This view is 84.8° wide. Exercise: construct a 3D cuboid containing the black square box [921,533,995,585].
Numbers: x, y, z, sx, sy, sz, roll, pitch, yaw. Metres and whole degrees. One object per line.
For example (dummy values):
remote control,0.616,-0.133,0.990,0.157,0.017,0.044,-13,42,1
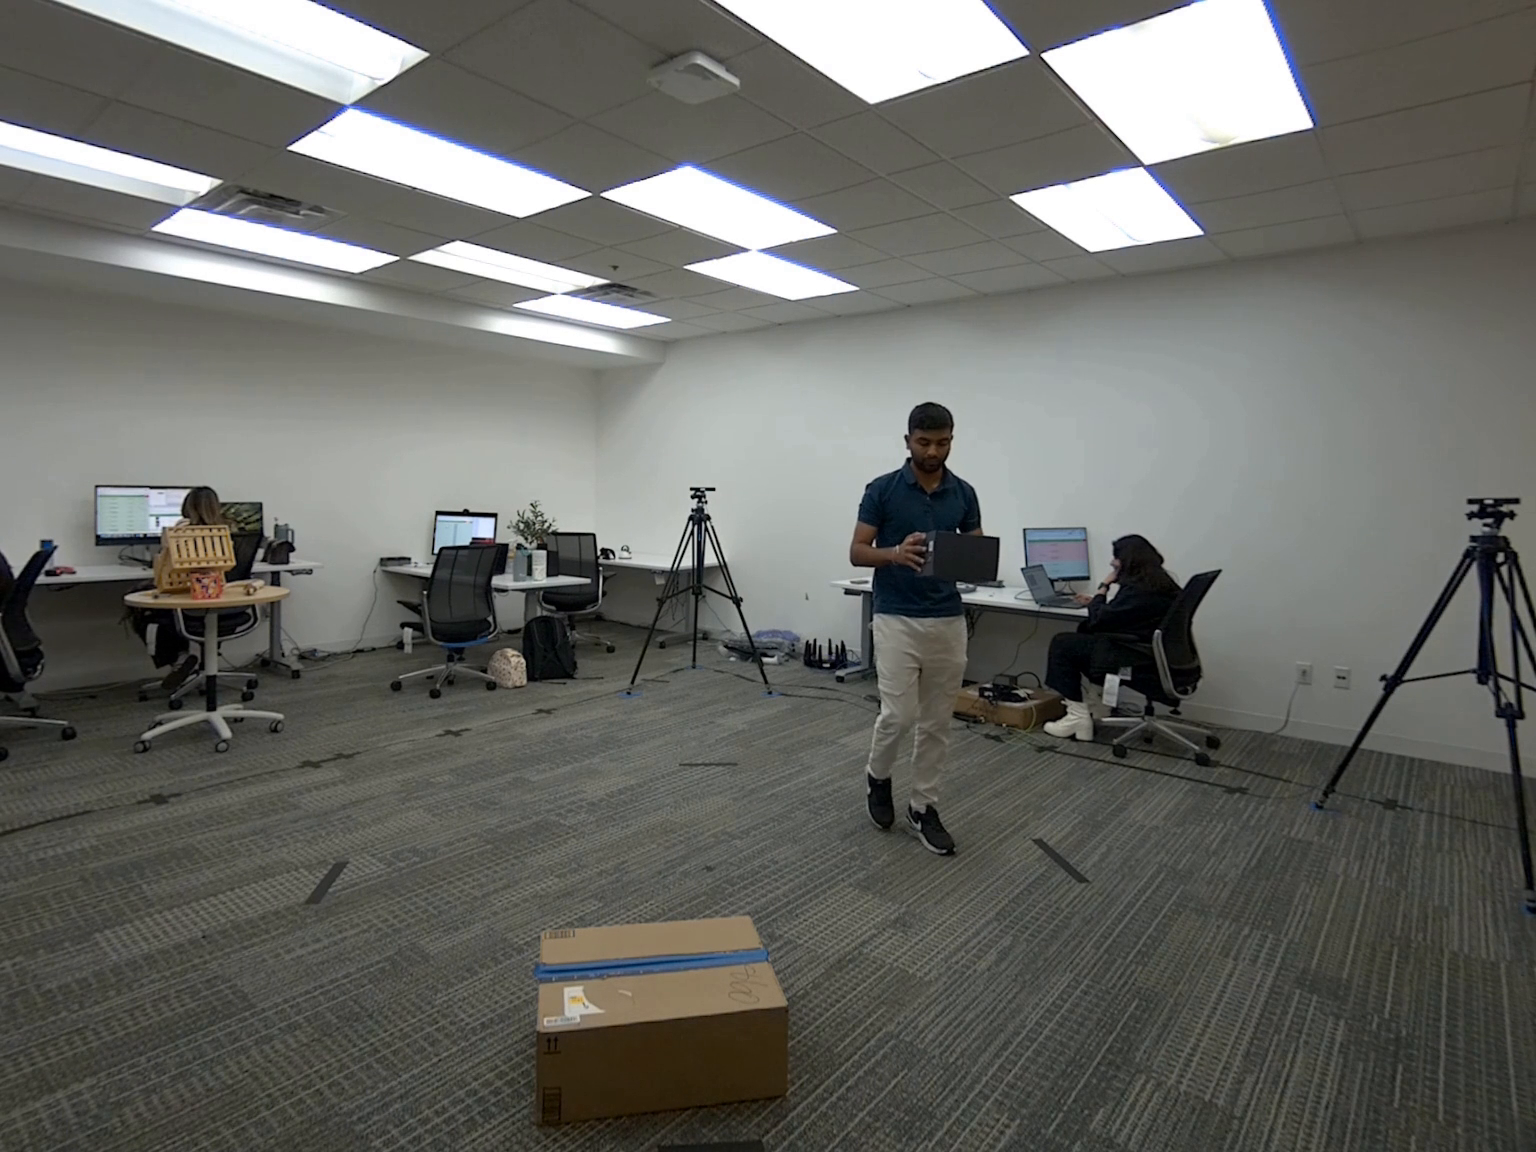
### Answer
black square box,0.660,-0.062,3.030,0.227,0.156,0.217,5,-3,-3
